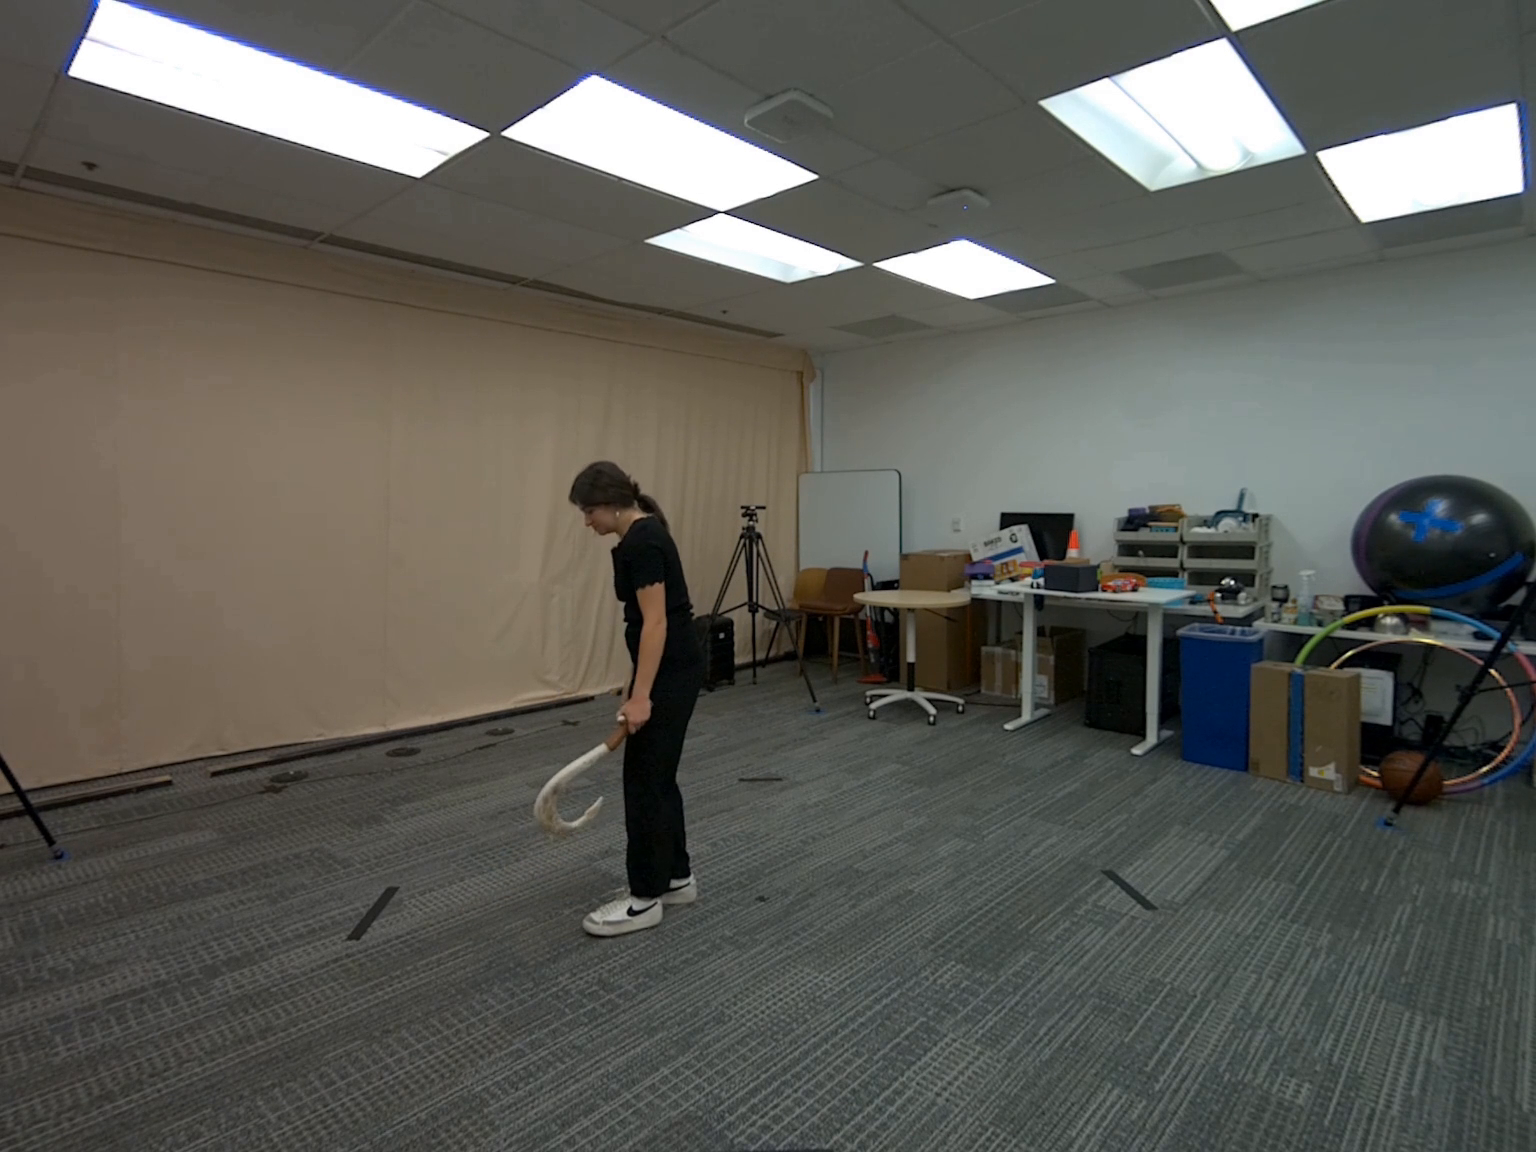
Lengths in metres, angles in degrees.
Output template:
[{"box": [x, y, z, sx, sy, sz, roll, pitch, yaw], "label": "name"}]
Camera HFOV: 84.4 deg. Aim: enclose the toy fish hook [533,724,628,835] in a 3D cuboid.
[{"box": [-0.535, 0.607, 2.661, 0.503, 0.218, 0.050, -44, 41, -20], "label": "toy fish hook"}]
